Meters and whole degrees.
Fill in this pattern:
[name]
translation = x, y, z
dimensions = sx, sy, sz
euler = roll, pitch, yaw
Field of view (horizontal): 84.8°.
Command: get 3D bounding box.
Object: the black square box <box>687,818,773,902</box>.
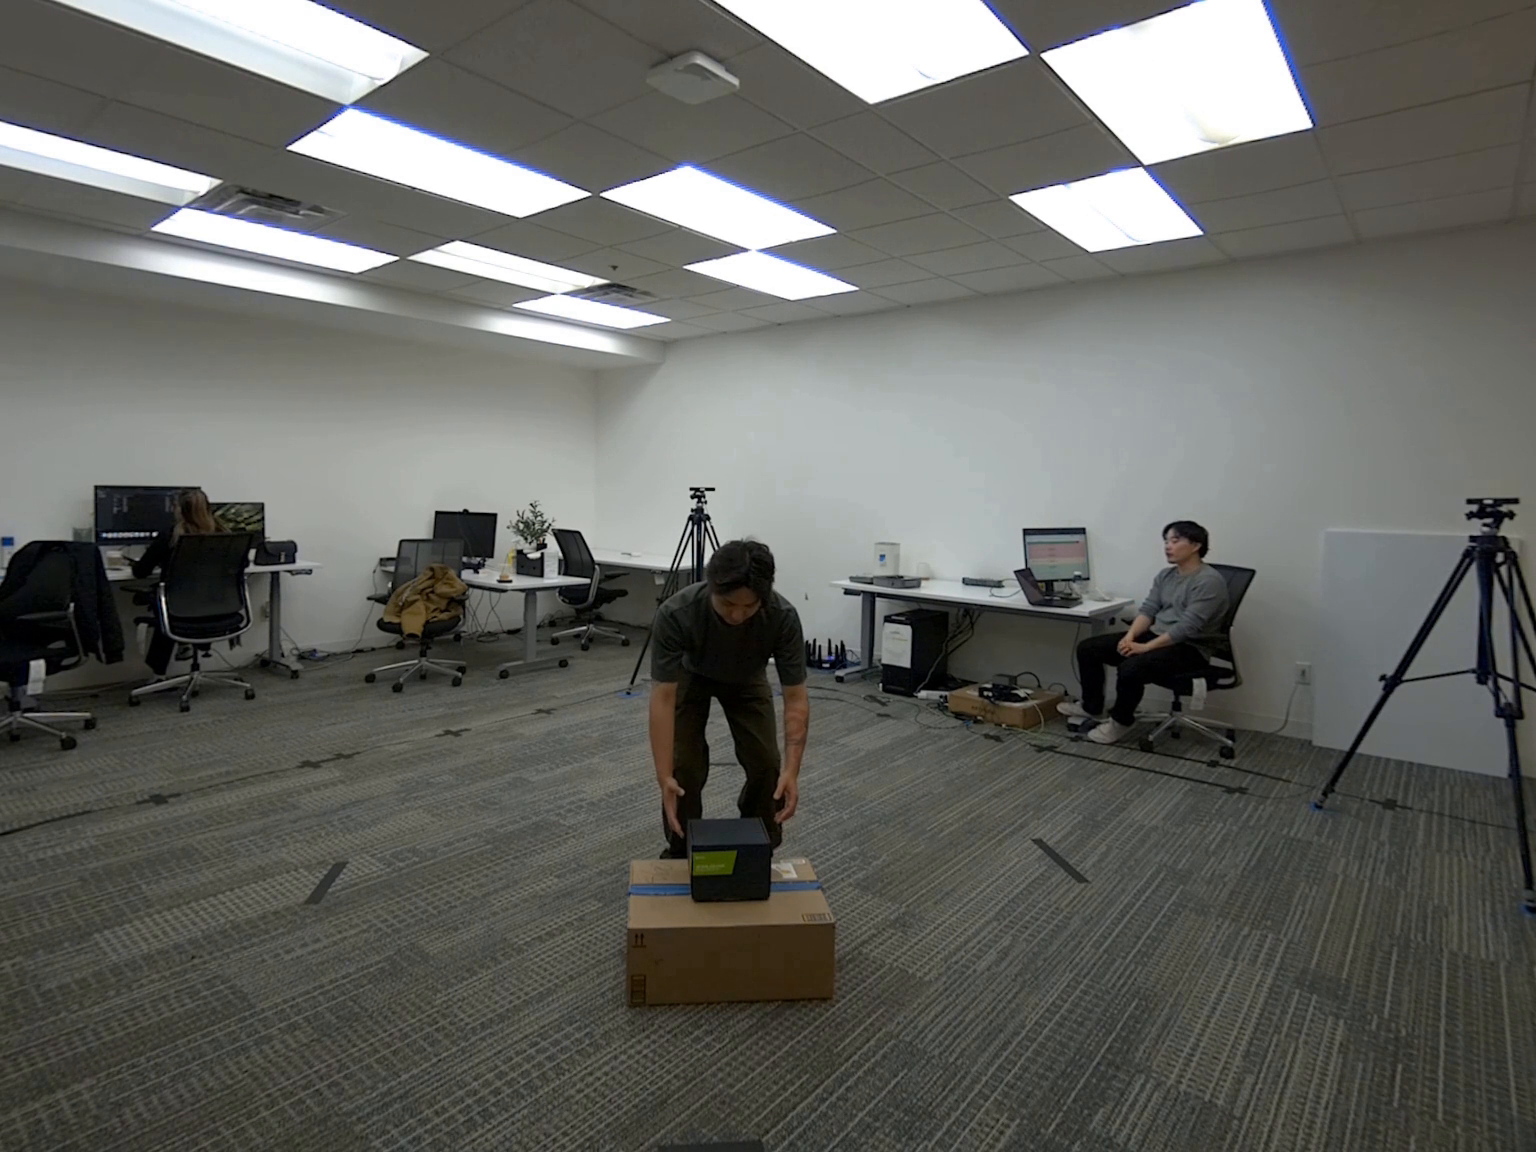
[black square box]
translation = -0.126, 0.827, 2.511
dimensions = 0.226, 0.155, 0.219
euler = 1, 3, -7
